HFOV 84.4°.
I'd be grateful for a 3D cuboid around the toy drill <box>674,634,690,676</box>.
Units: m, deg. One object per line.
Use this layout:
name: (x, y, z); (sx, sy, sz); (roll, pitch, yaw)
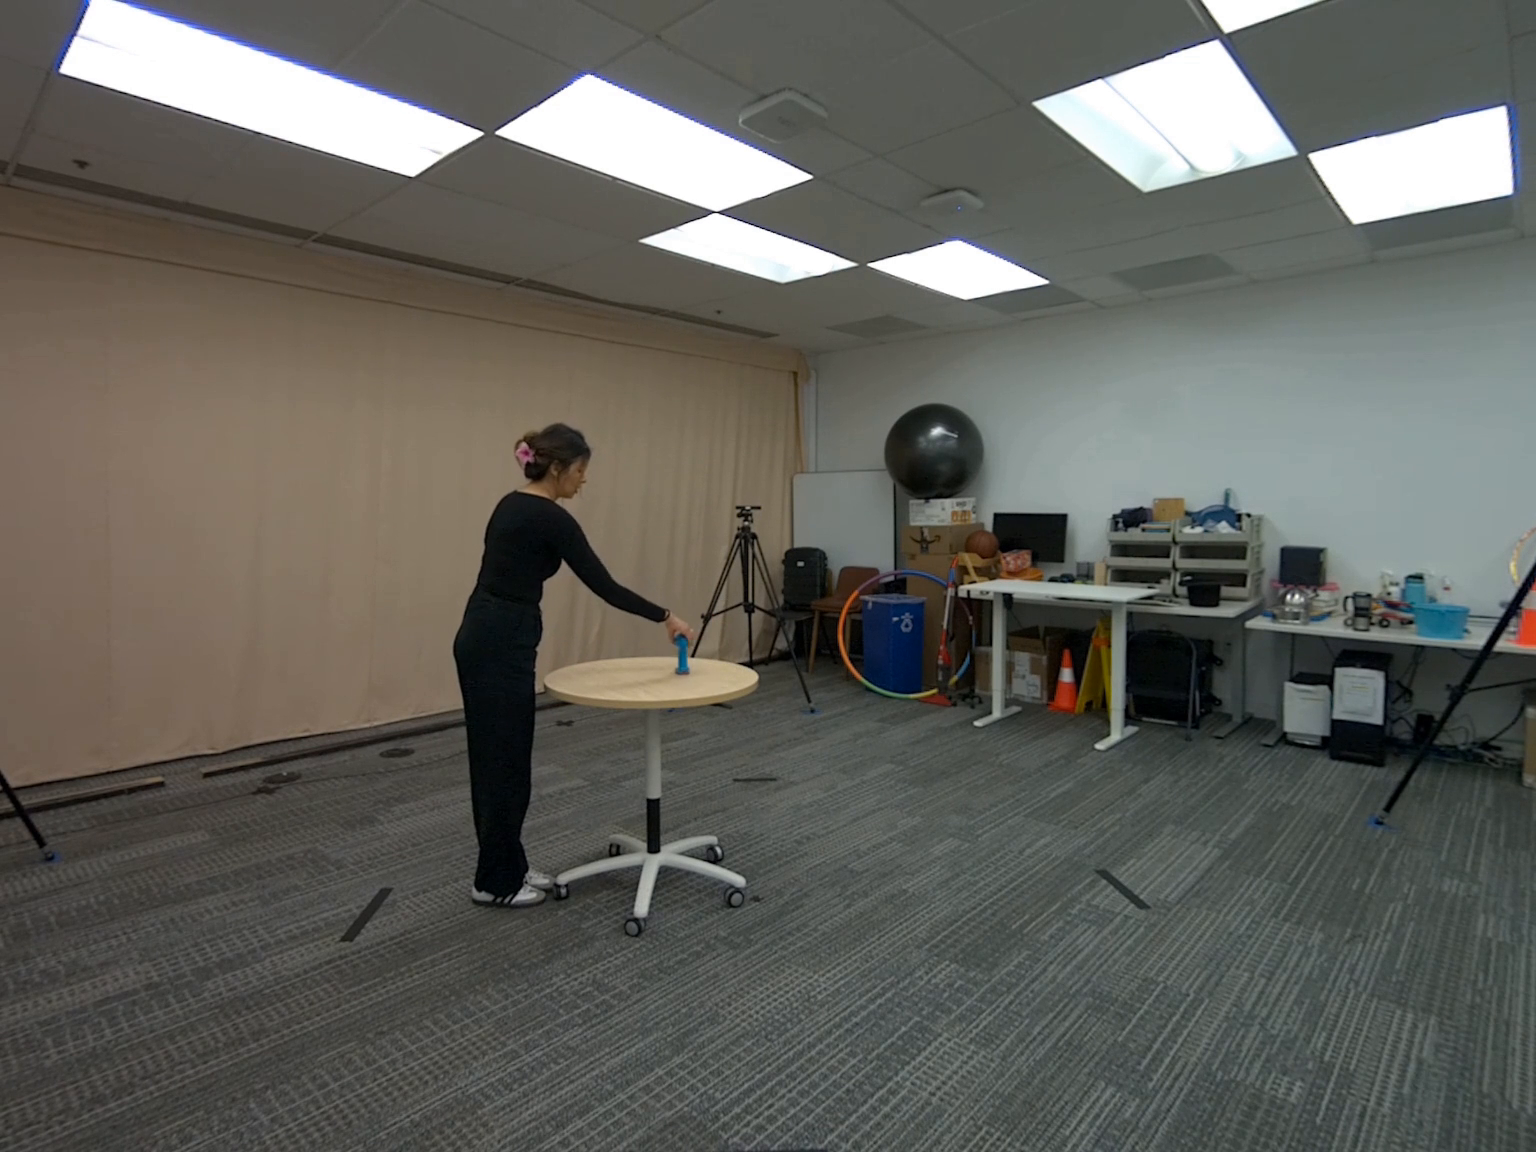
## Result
toy drill: (-0.328, 0.282, 3.107); (0.060, 0.145, 0.173); (-4, 5, -15)
